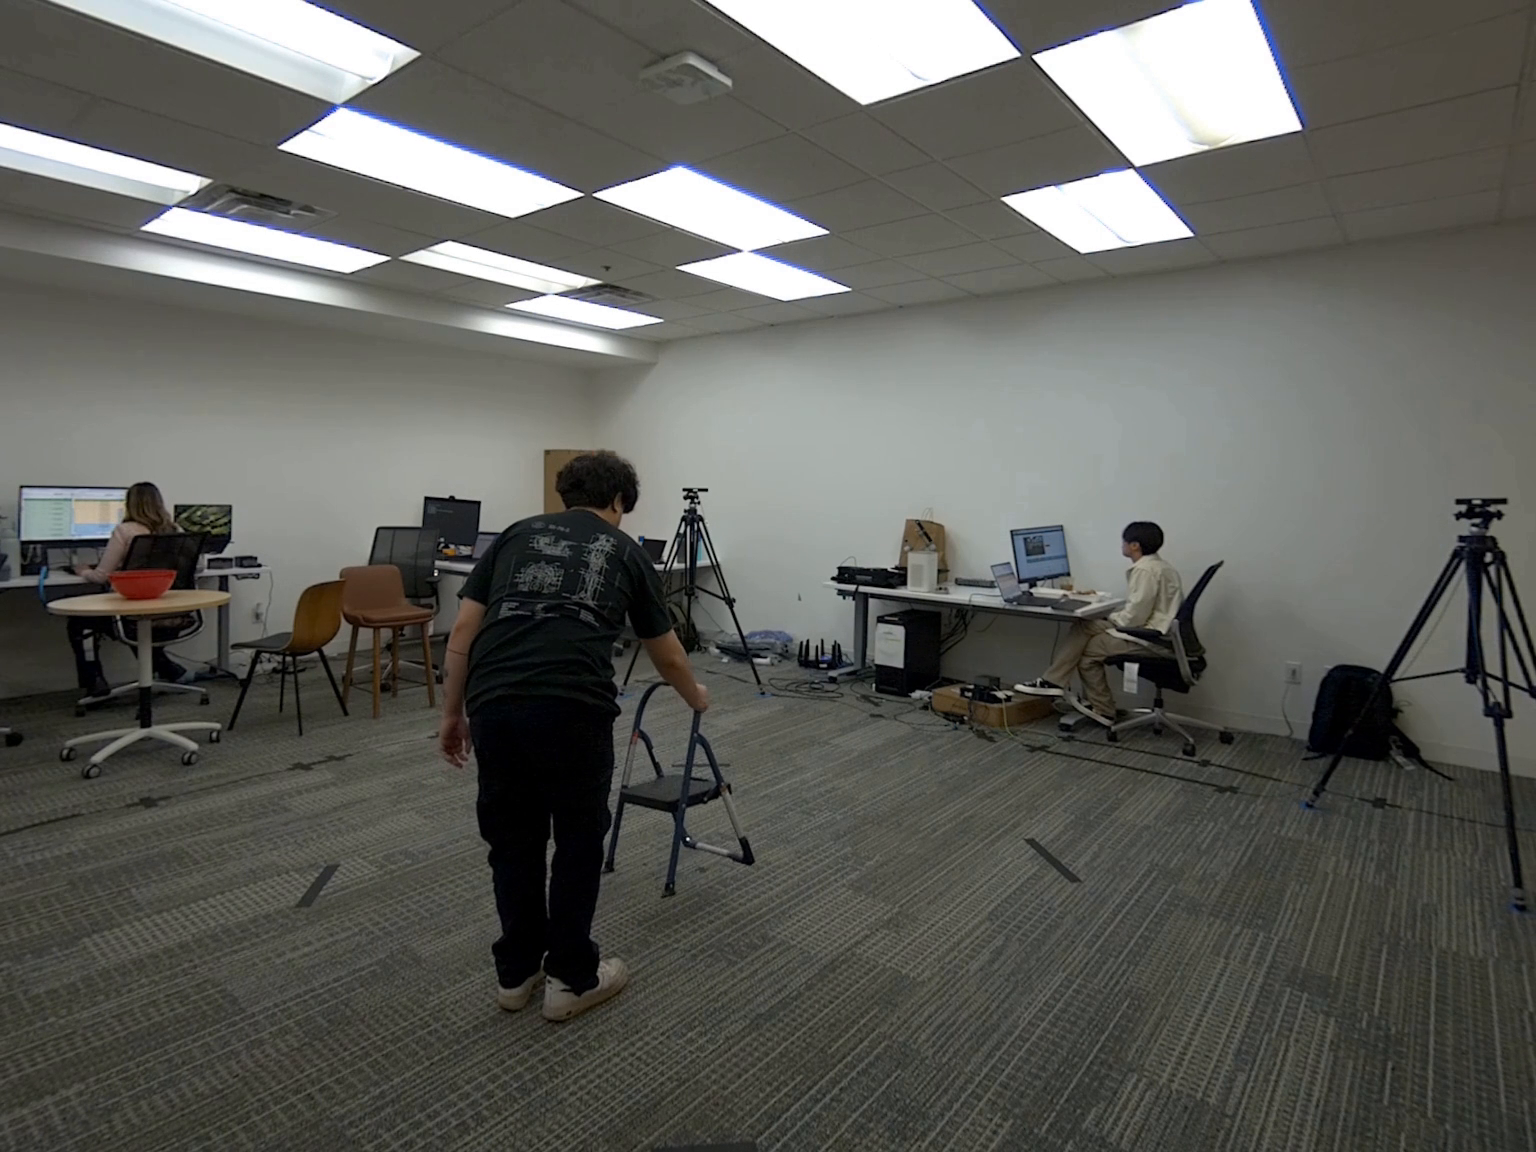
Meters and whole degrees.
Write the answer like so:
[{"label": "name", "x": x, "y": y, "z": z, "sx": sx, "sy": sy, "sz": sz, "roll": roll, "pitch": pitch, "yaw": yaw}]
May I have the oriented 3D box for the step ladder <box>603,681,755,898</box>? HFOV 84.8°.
[{"label": "step ladder", "x": -0.349, "y": 0.661, "z": 2.807, "sx": 0.339, "sy": 0.609, "sz": 0.441, "roll": -5, "pitch": -5, "yaw": -38}]
